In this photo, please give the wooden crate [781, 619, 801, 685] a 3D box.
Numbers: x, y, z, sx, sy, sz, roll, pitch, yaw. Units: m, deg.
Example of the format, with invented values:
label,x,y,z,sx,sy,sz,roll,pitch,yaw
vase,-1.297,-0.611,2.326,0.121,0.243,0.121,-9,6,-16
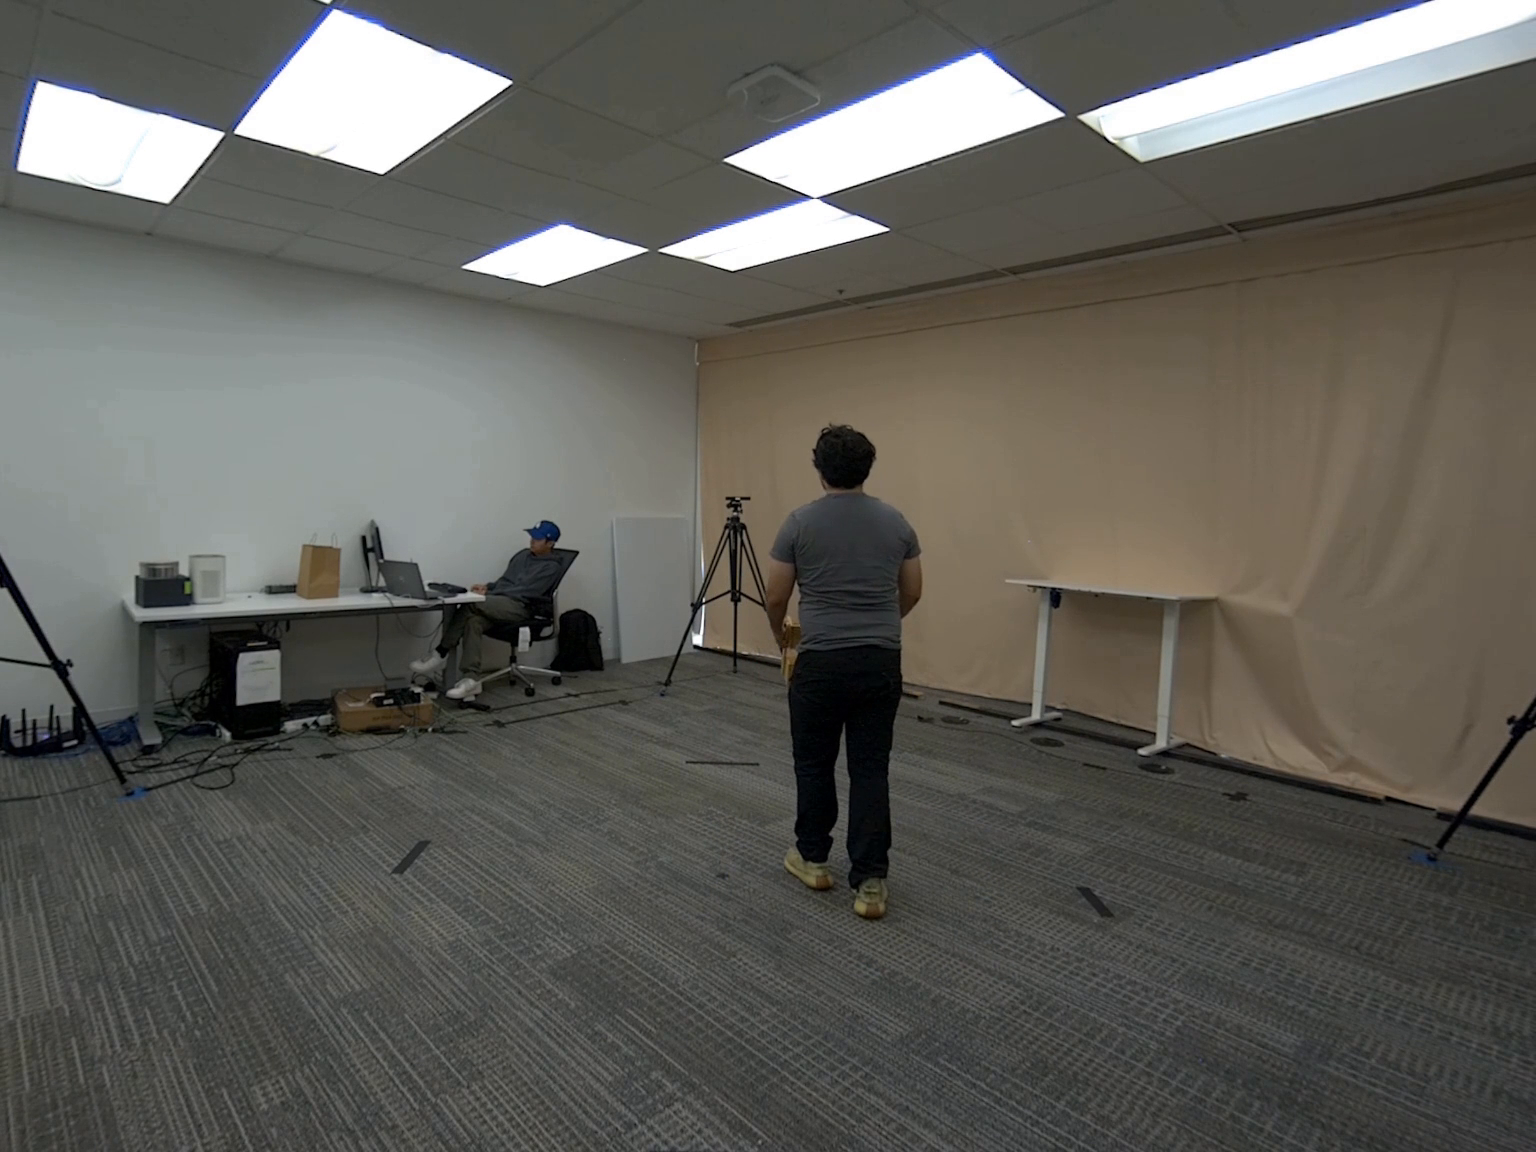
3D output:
label,x,y,z,sx,sy,sz,roll,pitch,yaw
wooden crate,0.221,0.283,3.344,0.324,0.271,0.305,2,11,-4
